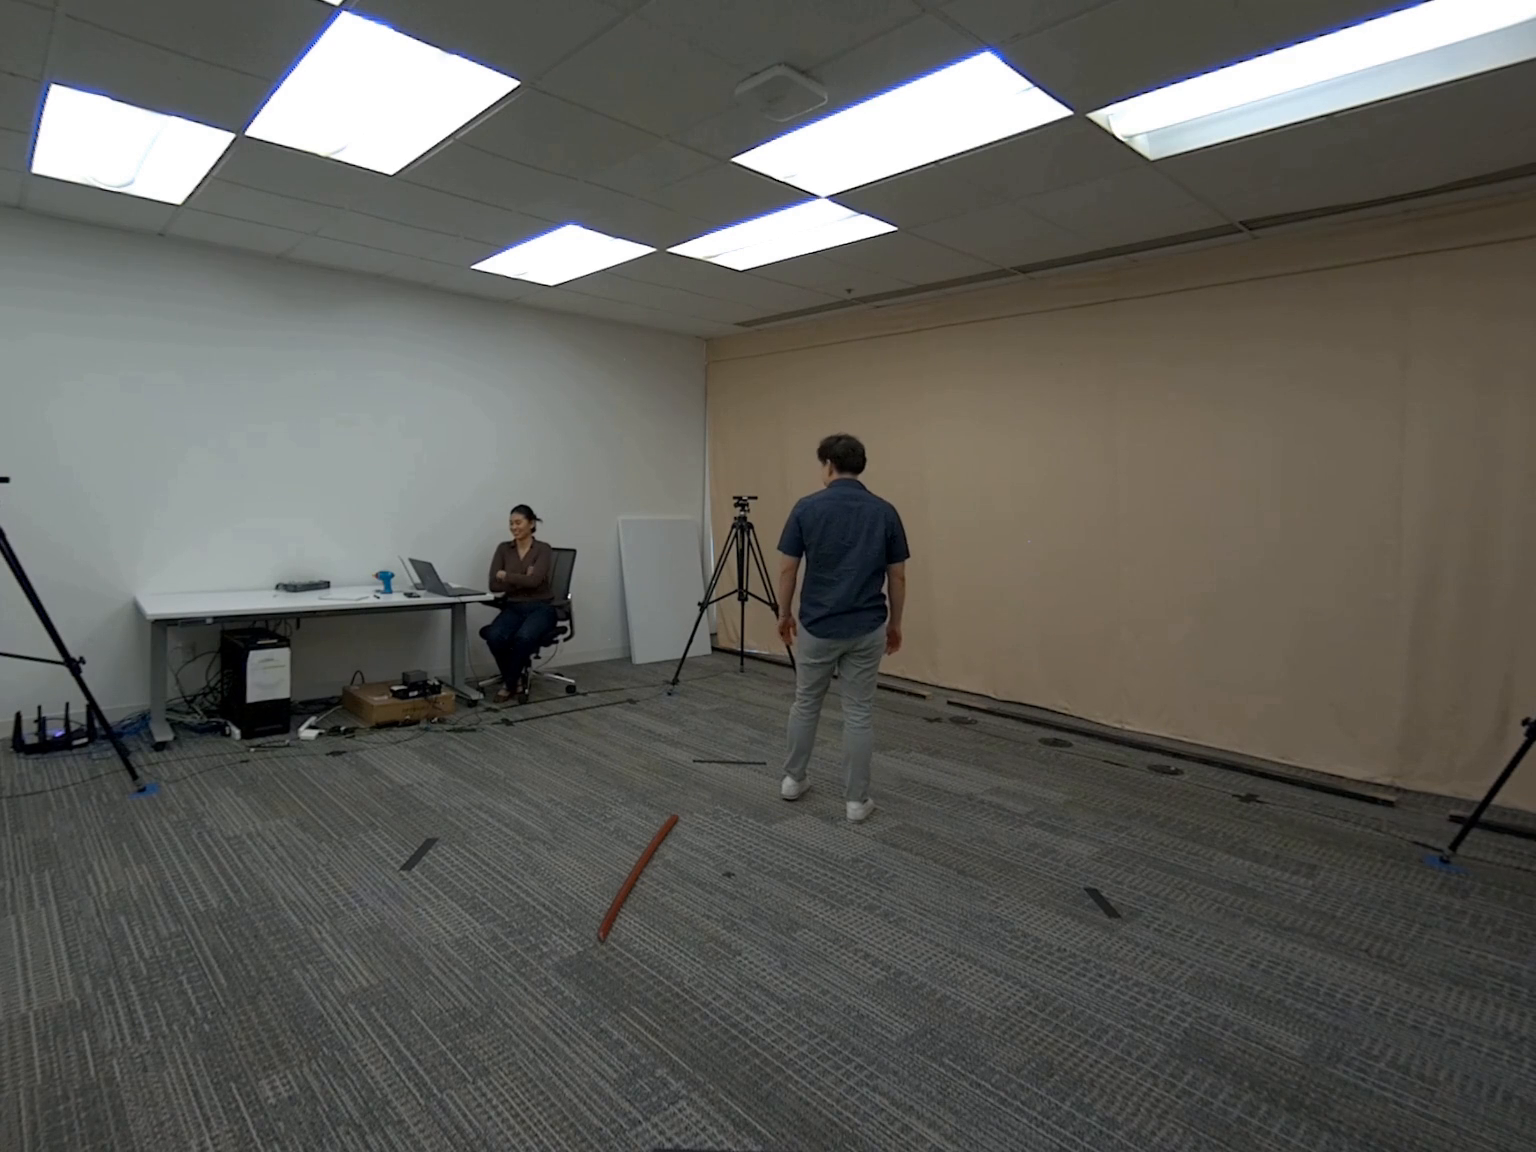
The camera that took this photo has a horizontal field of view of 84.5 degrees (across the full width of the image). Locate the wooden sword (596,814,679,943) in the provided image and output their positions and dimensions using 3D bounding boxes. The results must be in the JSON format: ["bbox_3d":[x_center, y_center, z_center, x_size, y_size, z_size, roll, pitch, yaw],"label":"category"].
[{"bbox_3d":[-0.470,1.076,3.112,0.051,0.024,1.021,2,6,6],"label":"wooden sword"}]
